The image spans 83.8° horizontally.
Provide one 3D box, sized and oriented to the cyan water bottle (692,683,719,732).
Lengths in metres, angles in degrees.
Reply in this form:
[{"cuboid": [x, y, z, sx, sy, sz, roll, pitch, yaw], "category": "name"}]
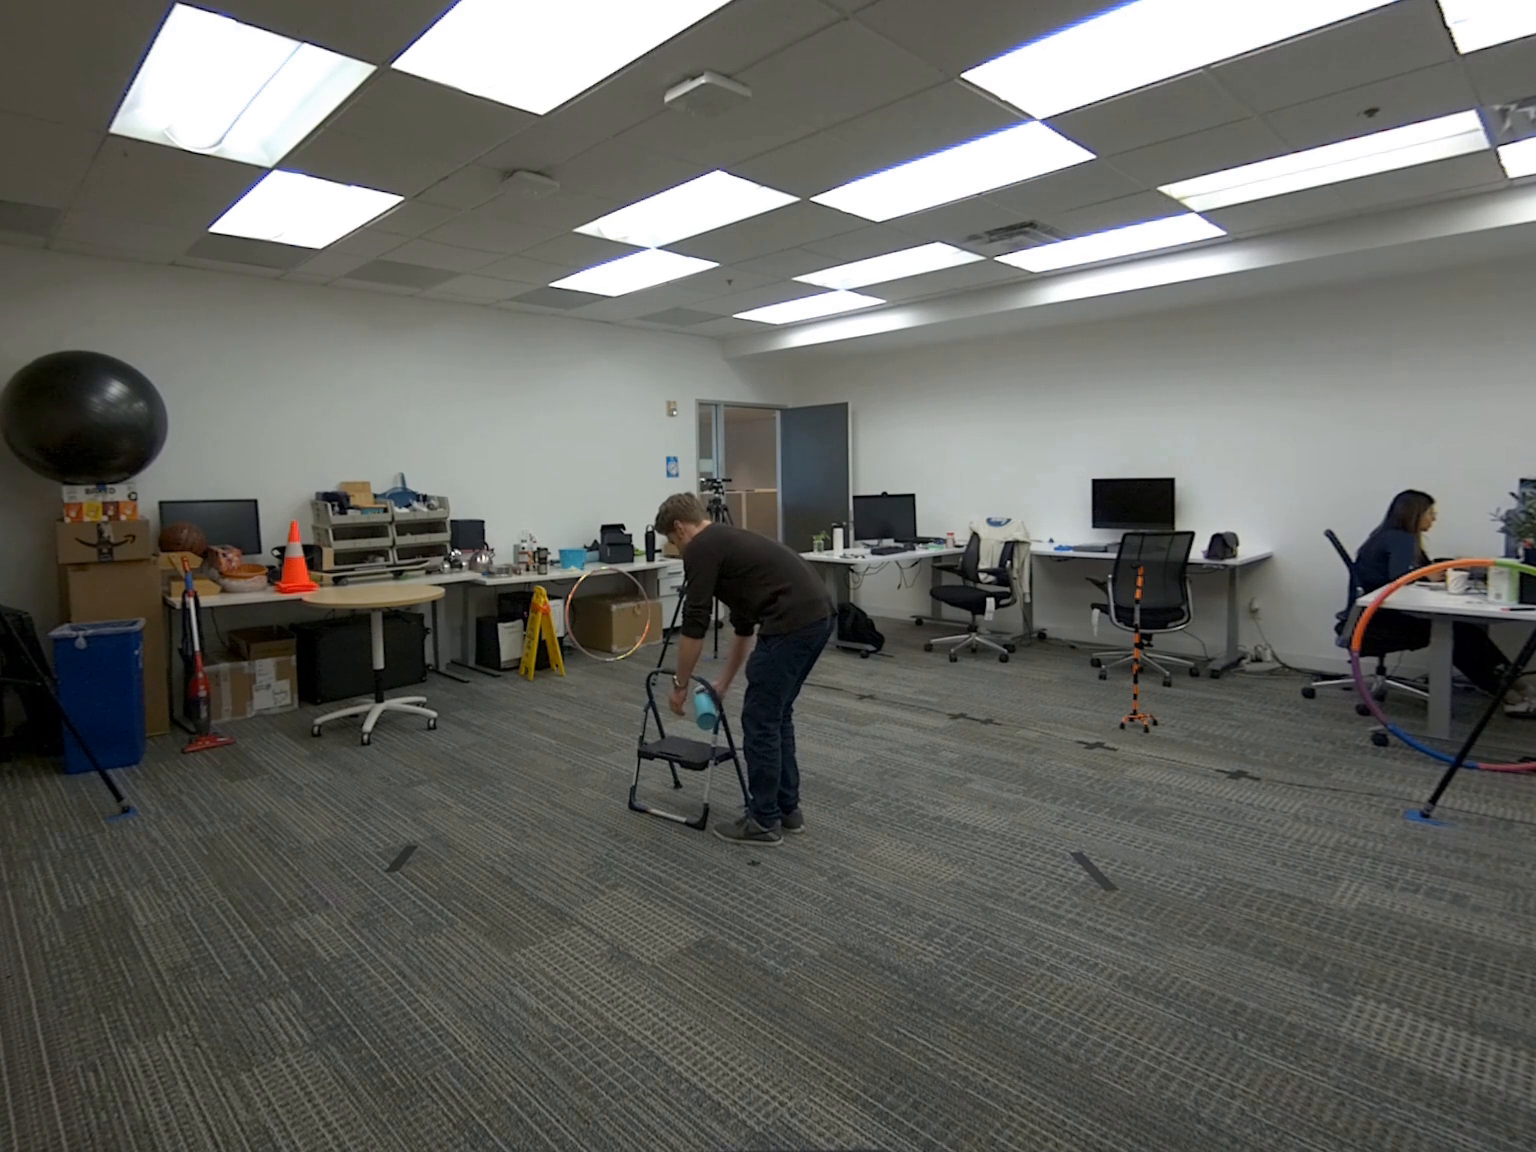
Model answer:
[{"cuboid": [-0.286, 0.542, 3.694, 0.092, 0.090, 0.289, -2, 23, -4], "category": "cyan water bottle"}]
